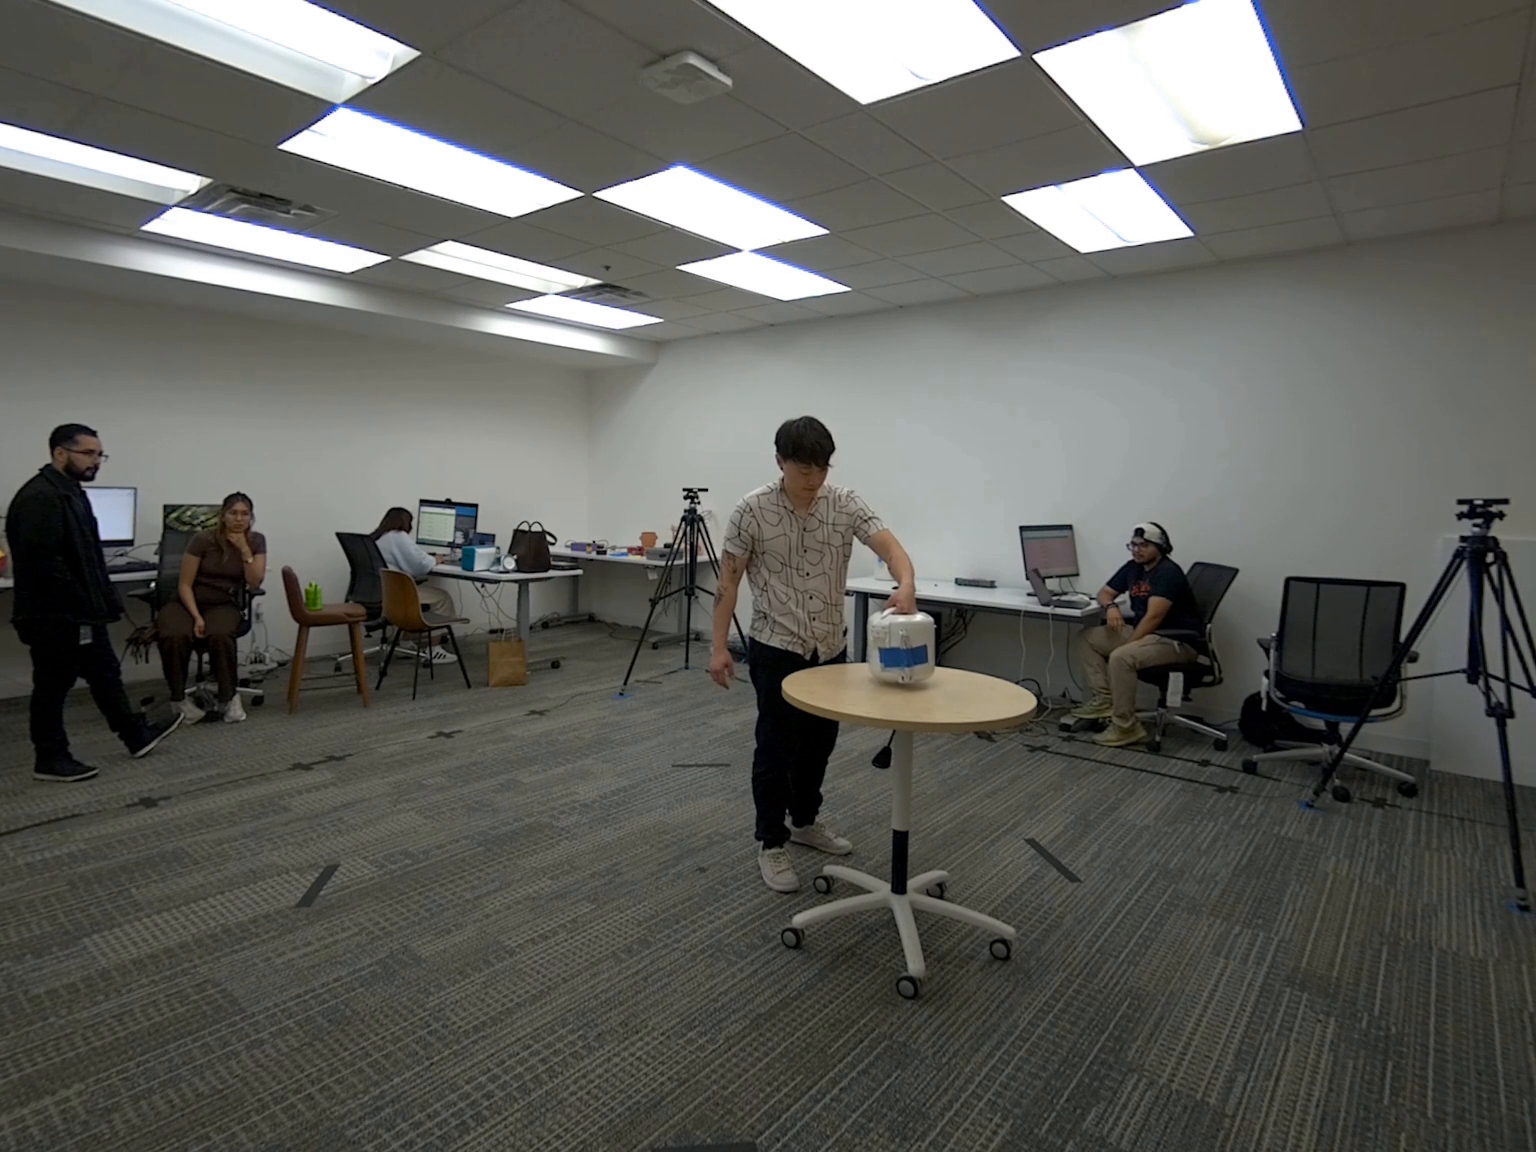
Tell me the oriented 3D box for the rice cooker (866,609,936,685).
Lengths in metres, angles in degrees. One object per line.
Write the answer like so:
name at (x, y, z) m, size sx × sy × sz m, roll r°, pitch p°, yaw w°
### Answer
rice cooker at (0.419, 0.206, 2.711) m, size 0.214 × 0.232 × 0.224 m, roll -1°, pitch 2°, yaw -41°
